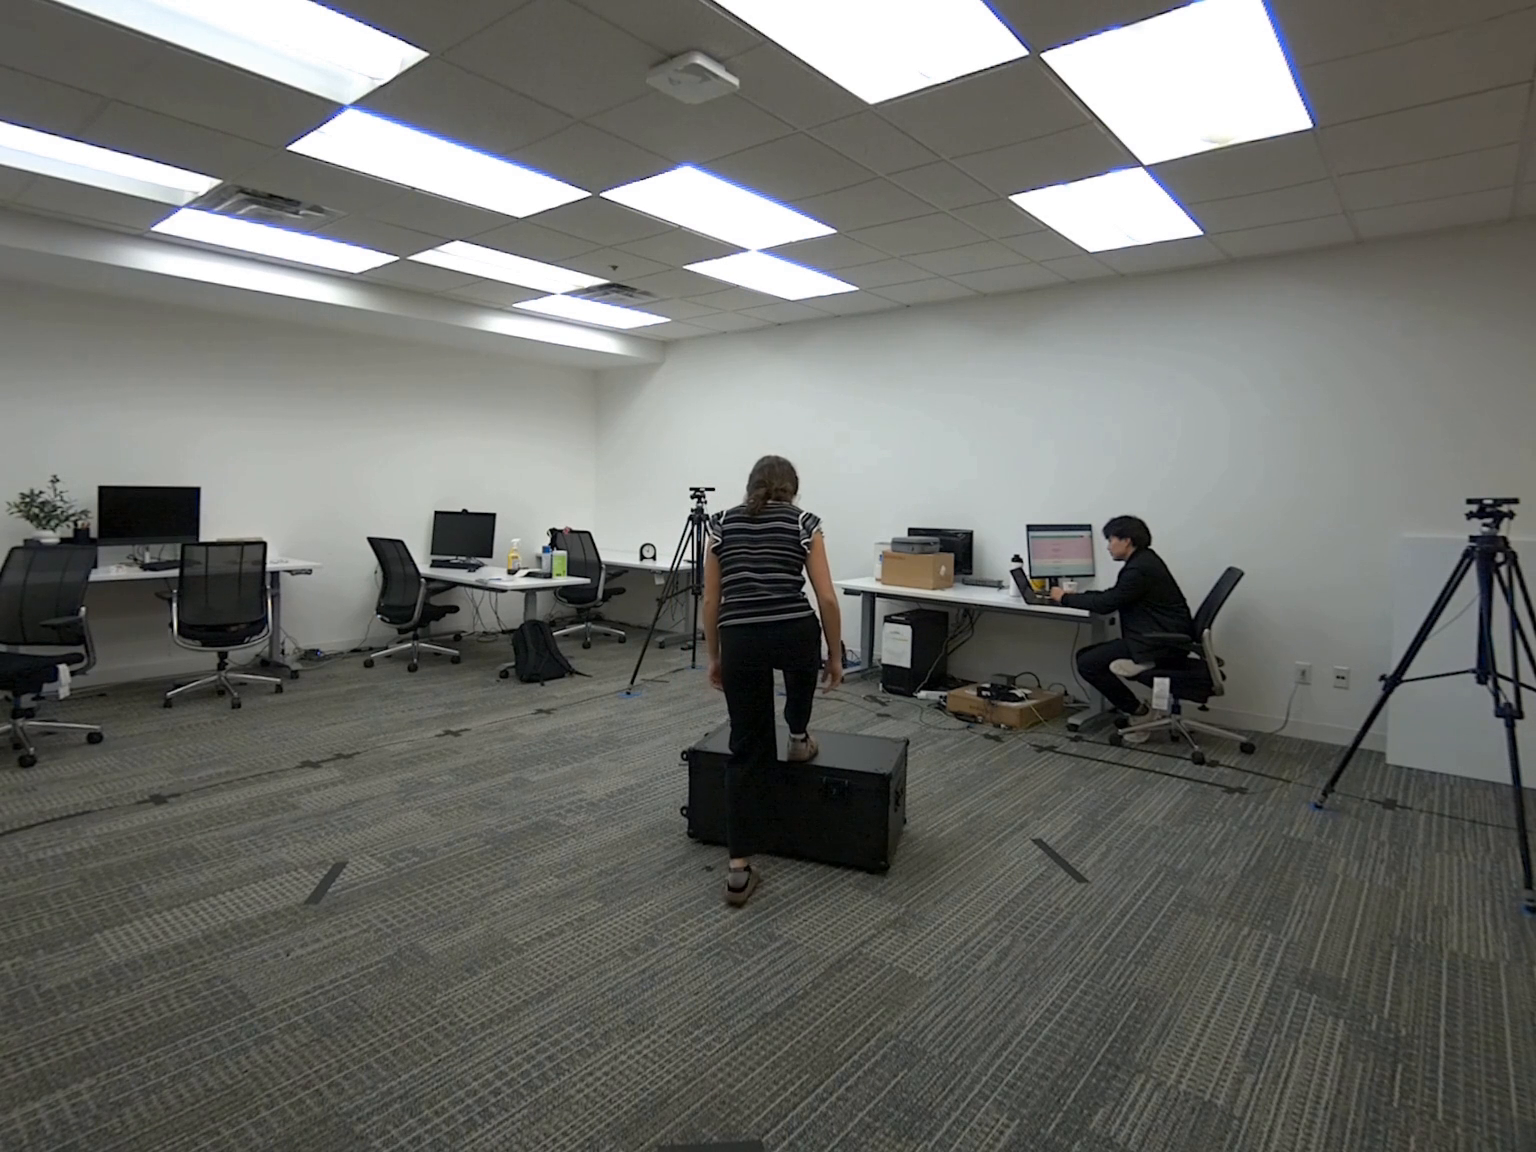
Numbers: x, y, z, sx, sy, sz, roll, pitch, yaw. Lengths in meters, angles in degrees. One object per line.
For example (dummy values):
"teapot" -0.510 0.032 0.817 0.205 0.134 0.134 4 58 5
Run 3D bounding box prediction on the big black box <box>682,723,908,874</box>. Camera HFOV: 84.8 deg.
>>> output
"big black box" 0.089 0.851 3.427 0.880 0.394 0.513 4 6 19
